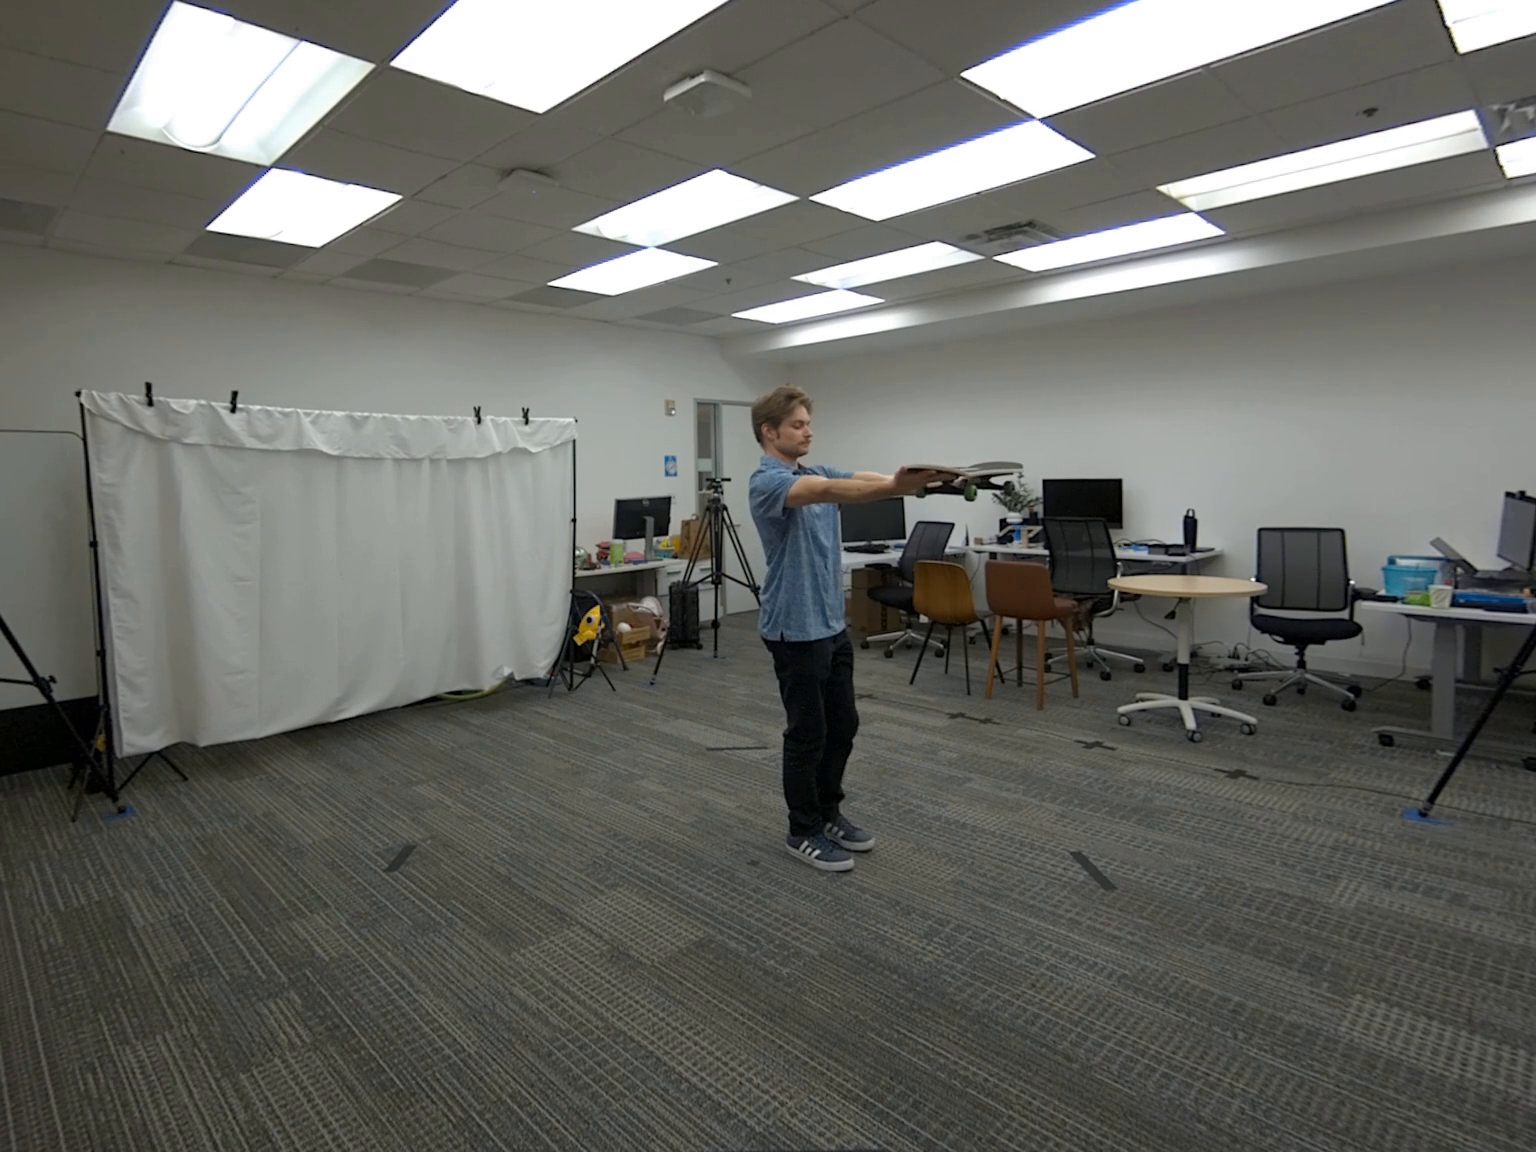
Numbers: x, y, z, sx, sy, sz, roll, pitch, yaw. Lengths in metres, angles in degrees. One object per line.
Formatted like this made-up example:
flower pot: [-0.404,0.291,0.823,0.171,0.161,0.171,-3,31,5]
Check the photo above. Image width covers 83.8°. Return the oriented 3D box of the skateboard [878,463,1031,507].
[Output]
skateboard: [0.617,-0.302,2.733,0.199,0.109,0.767,6,10,34]
